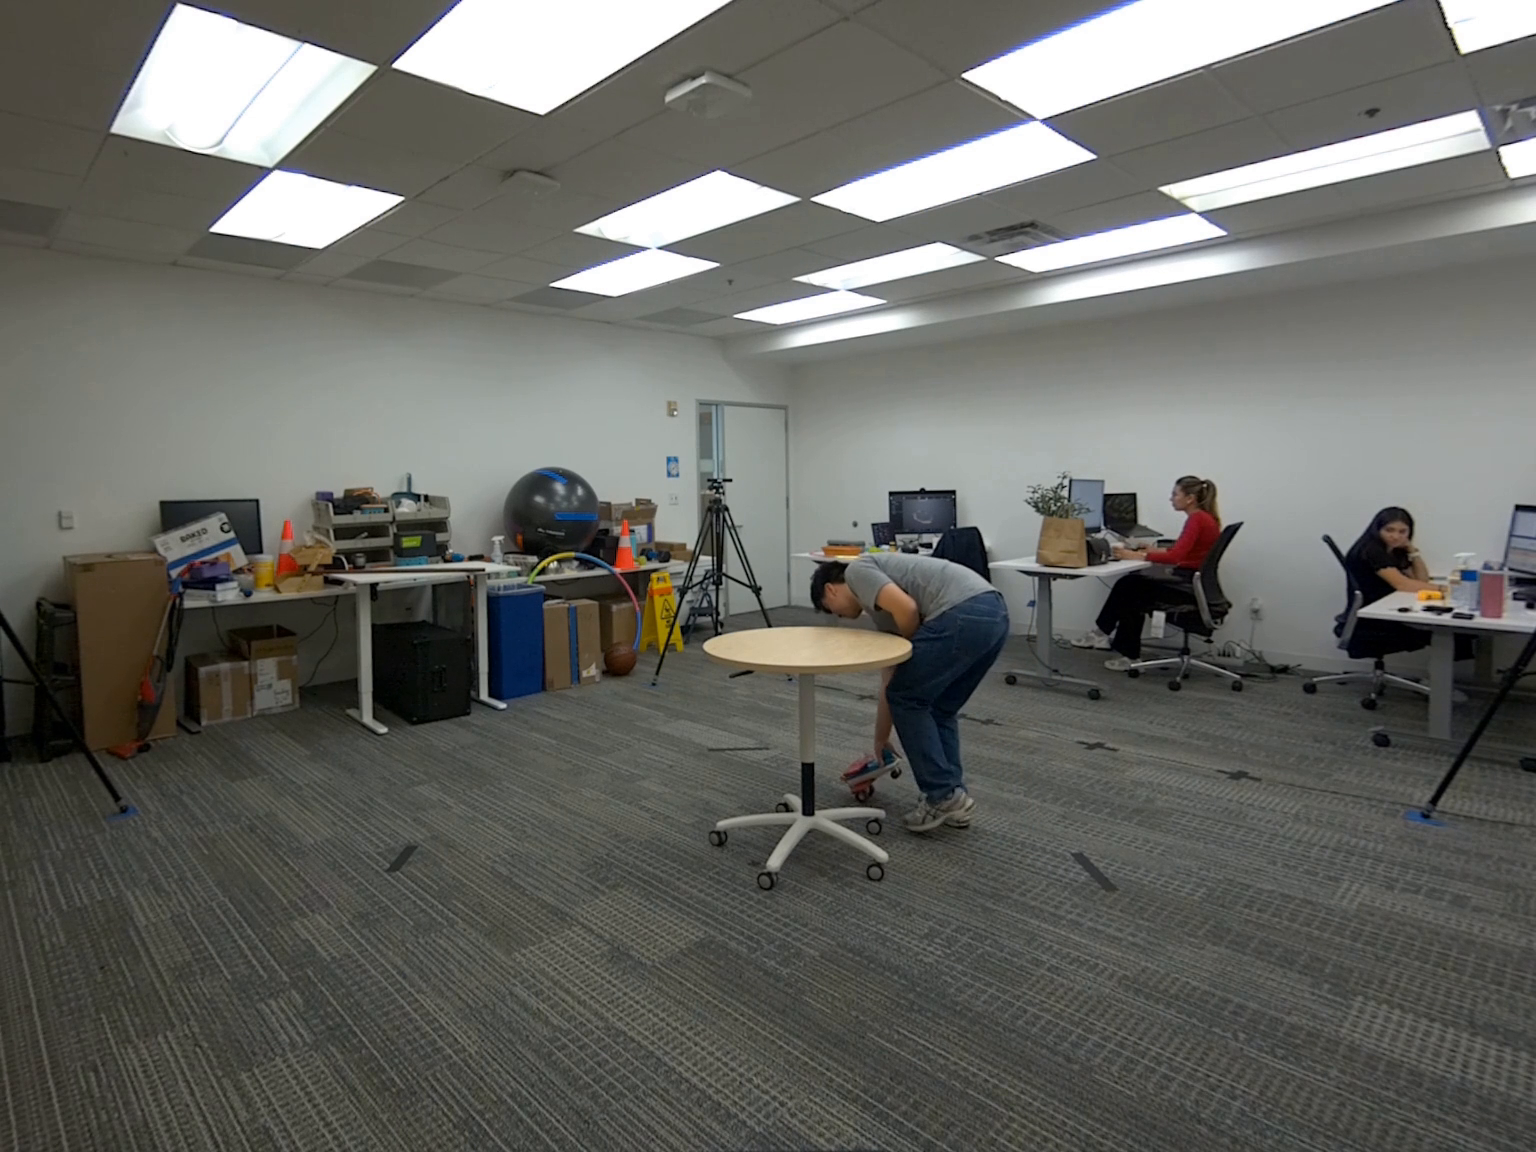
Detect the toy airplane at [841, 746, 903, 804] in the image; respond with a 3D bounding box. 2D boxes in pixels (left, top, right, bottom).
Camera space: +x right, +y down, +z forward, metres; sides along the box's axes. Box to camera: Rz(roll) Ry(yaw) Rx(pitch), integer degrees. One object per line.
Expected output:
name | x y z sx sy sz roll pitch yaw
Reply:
toy airplane | 0.459 0.856 3.709 0.259 0.159 0.247 -37 -12 -6
